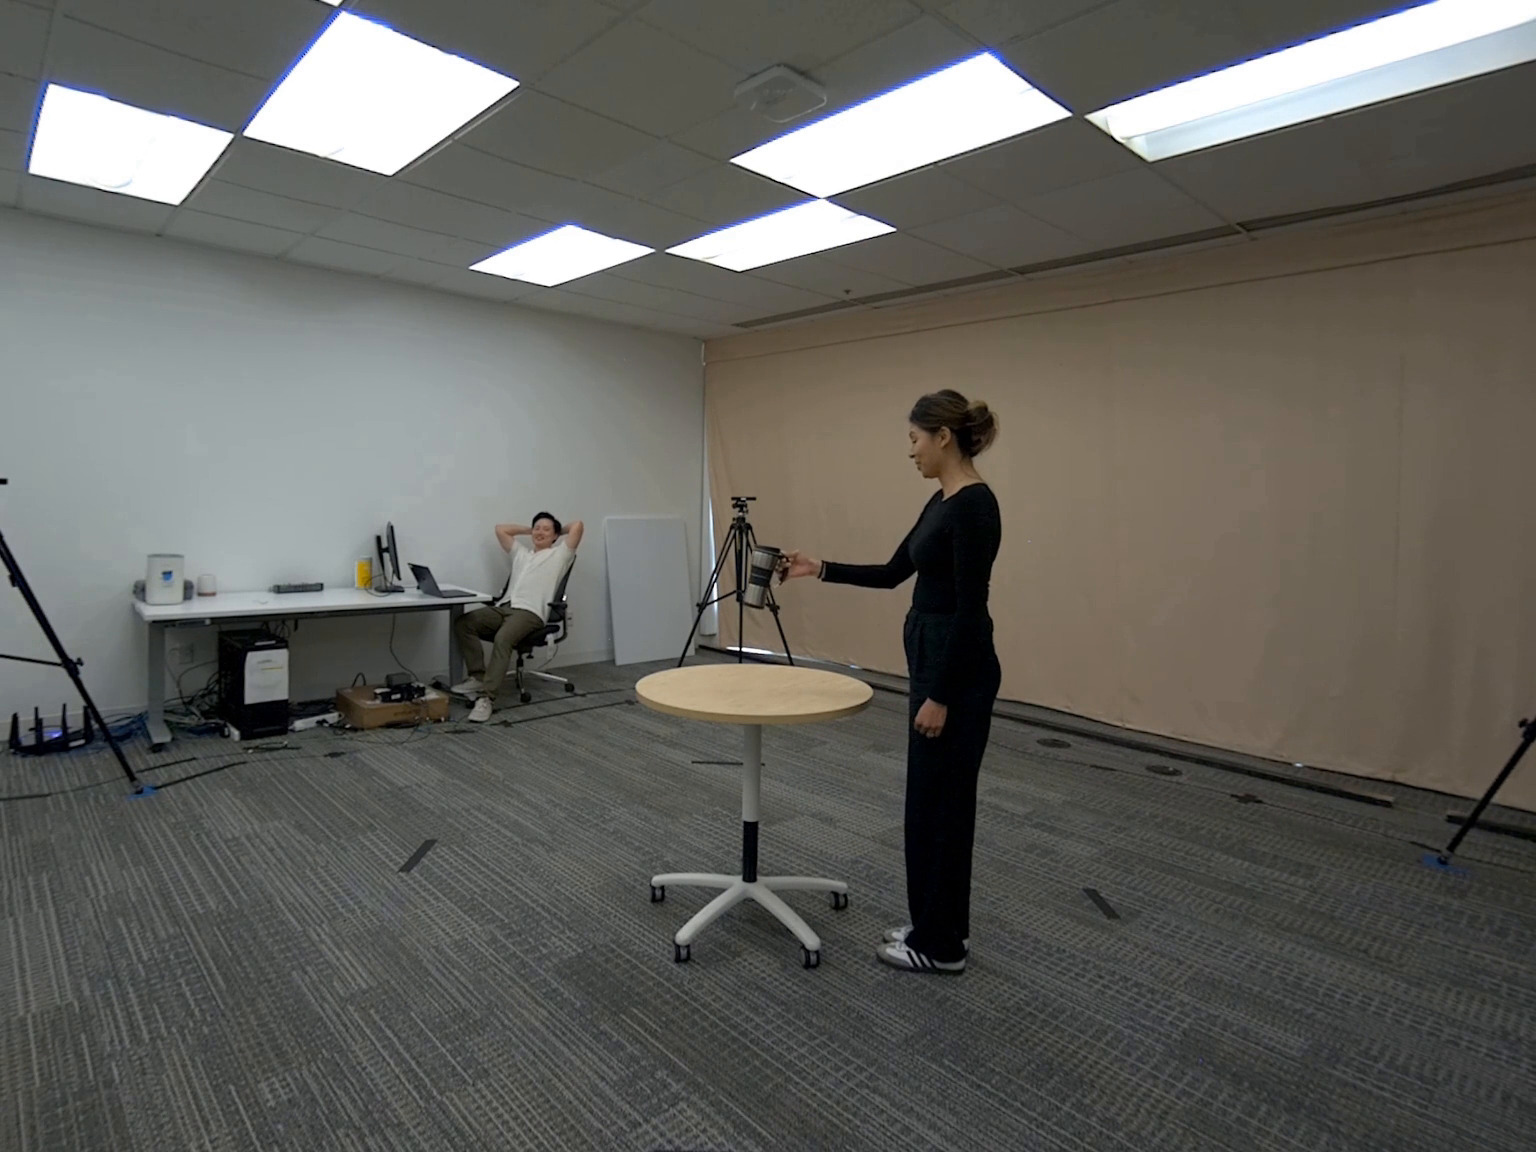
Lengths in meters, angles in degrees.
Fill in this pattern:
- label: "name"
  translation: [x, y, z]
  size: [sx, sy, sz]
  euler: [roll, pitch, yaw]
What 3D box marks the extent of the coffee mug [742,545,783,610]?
- label: "coffee mug"
  translation: [-0.014, 0.009, 2.695]
  size: [0.125, 0.203, 0.085]
  euler: [10, -5, 33]
